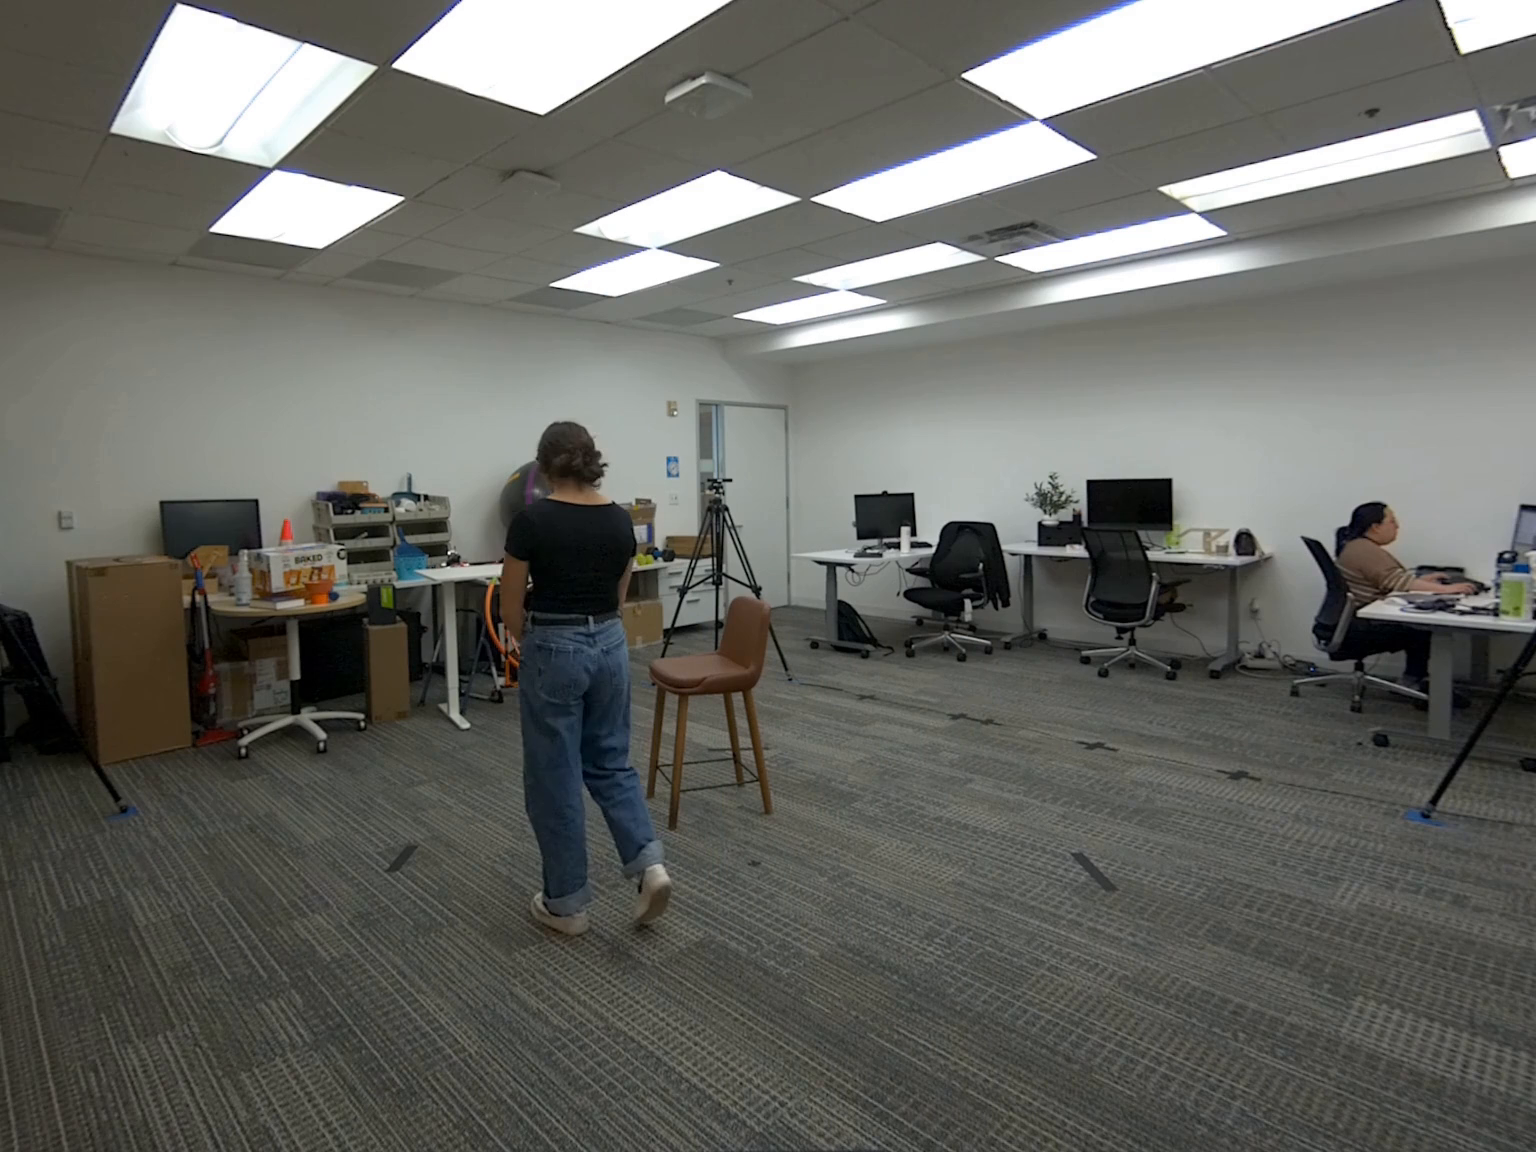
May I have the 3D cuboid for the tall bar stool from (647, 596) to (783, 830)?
[{"bbox_3d":[-0.253,0.553,3.651,0.459,0.887,0.466,-1,3,-21],"label":"tall bar stool"}]
